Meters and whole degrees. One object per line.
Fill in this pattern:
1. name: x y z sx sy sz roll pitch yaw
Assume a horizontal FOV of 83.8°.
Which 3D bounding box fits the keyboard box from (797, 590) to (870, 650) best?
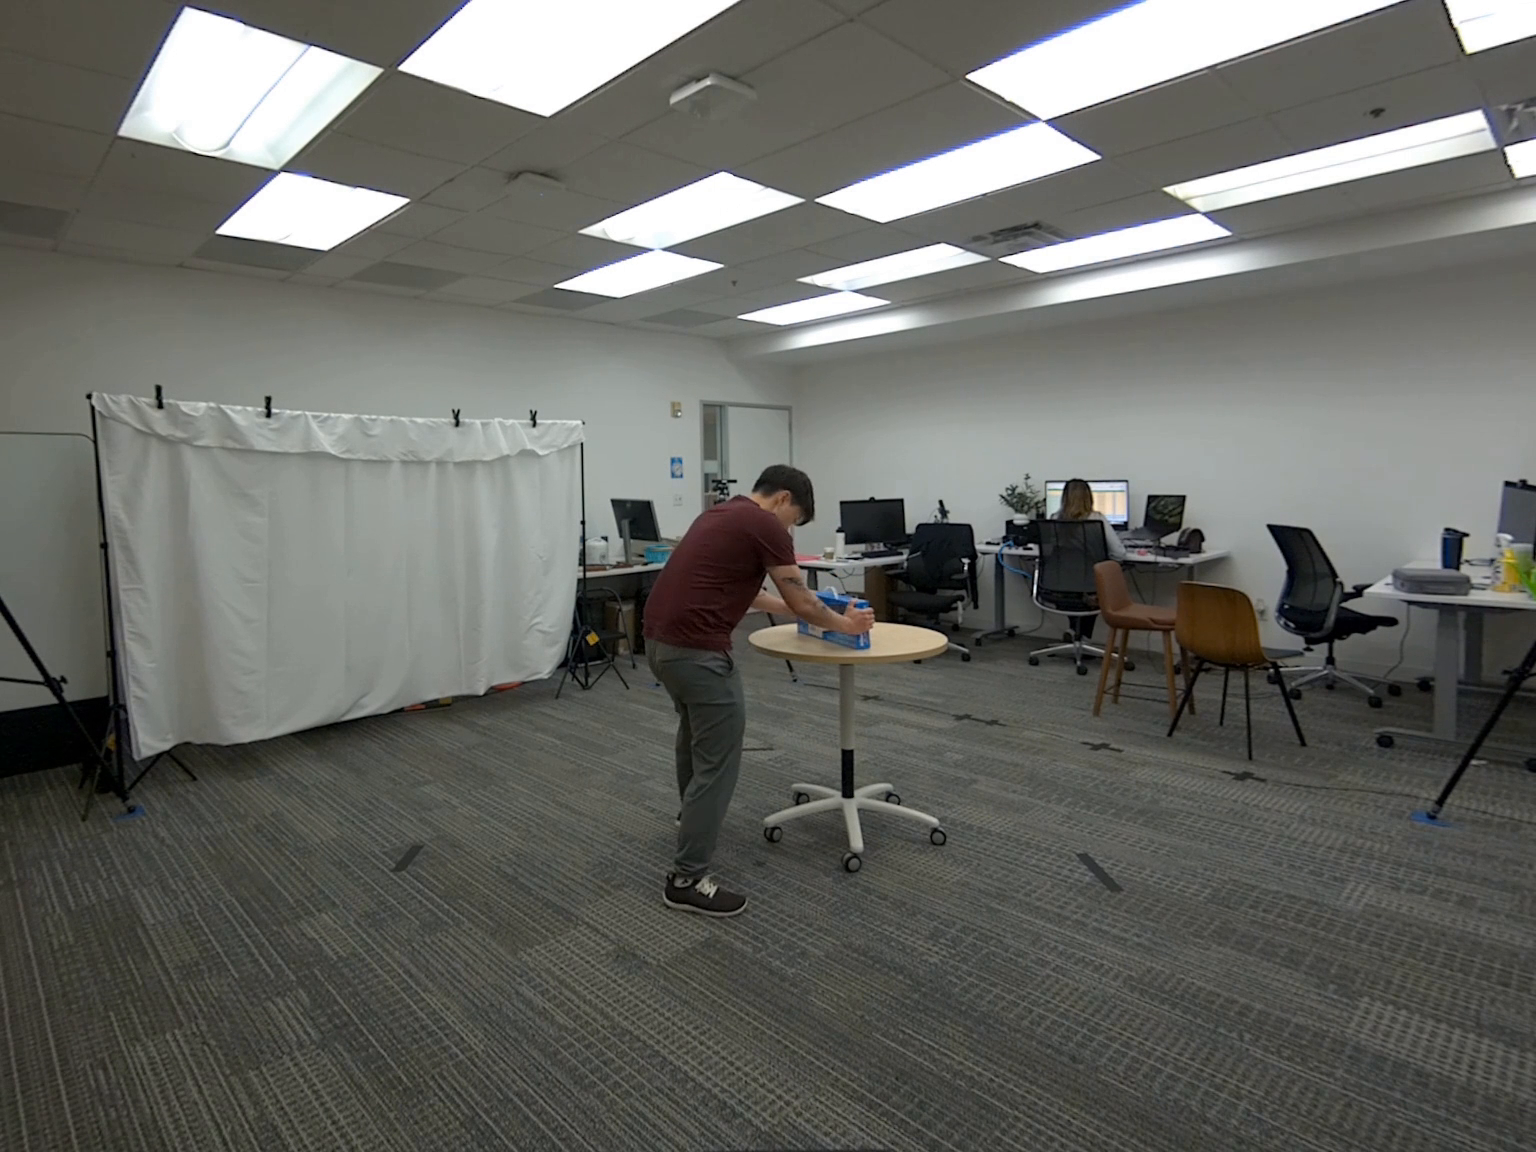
1. keyboard box: 0.248 0.164 3.283 0.058 0.175 0.447 -3 5 -25
